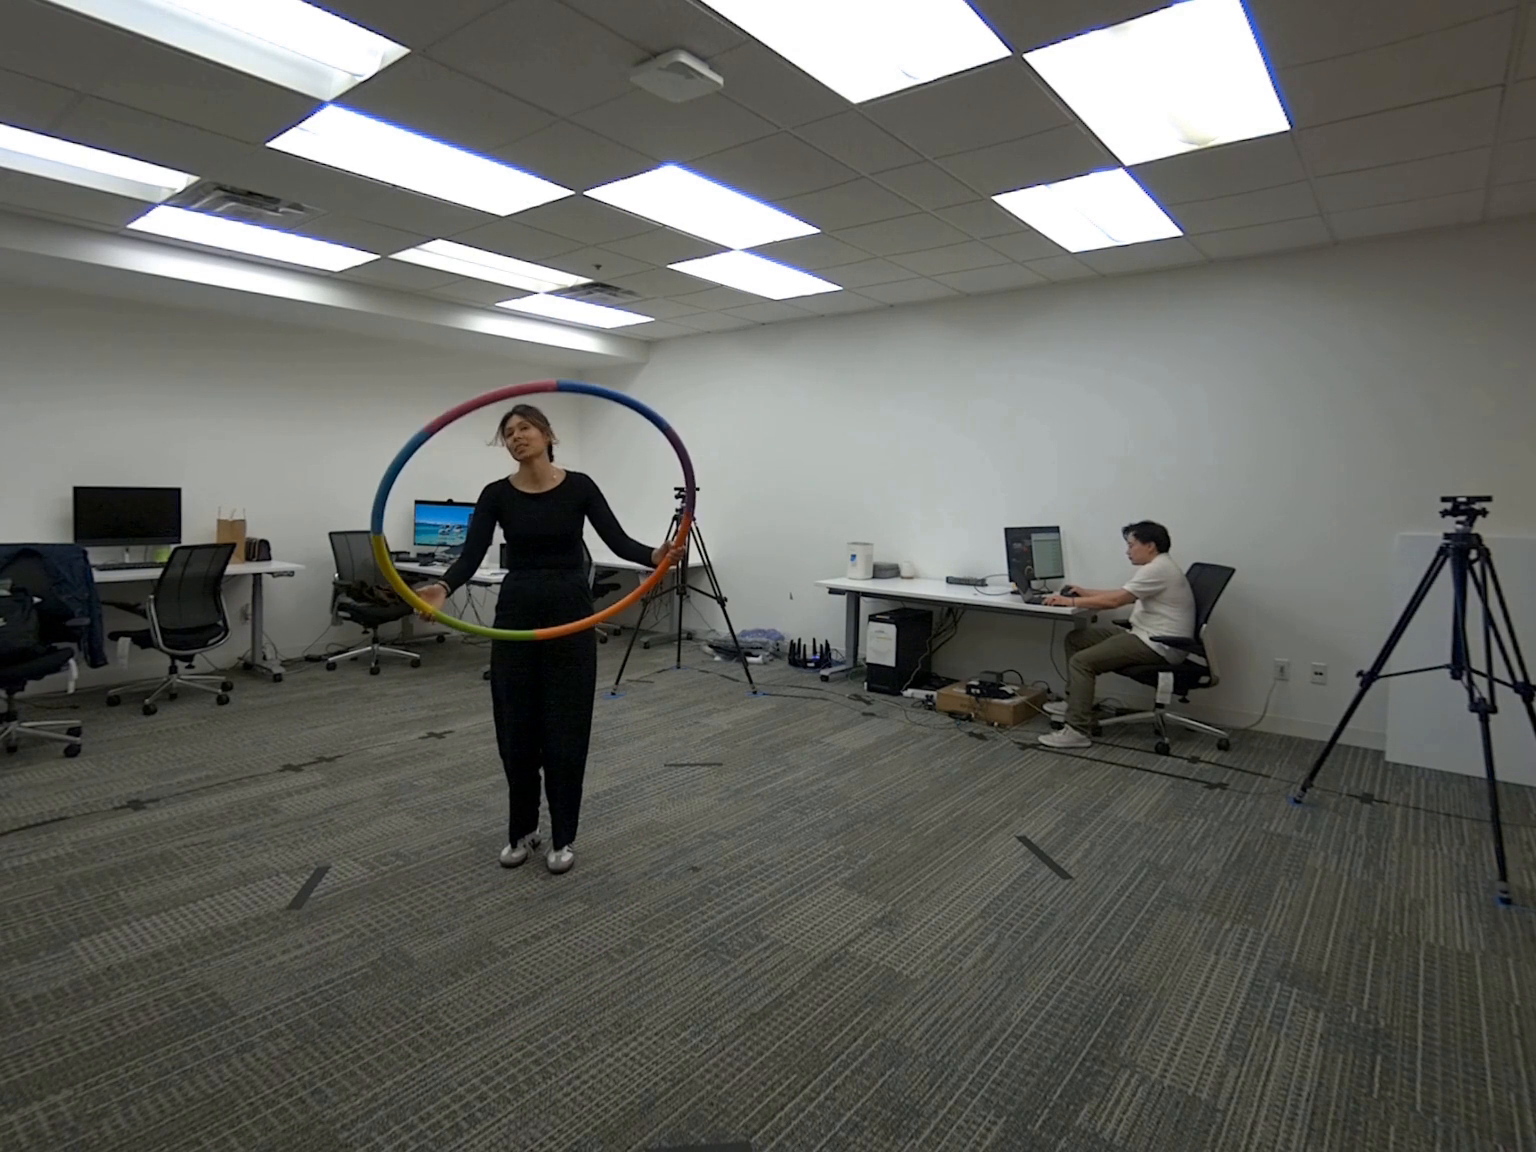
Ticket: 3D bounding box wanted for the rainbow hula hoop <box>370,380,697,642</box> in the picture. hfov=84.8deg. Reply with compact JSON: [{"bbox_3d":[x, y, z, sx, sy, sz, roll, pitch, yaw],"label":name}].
[{"bbox_3d":[-0.701,-0.159,2.607,0.961,0.970,0.054,-1,40,-27],"label":"rainbow hula hoop"}]
